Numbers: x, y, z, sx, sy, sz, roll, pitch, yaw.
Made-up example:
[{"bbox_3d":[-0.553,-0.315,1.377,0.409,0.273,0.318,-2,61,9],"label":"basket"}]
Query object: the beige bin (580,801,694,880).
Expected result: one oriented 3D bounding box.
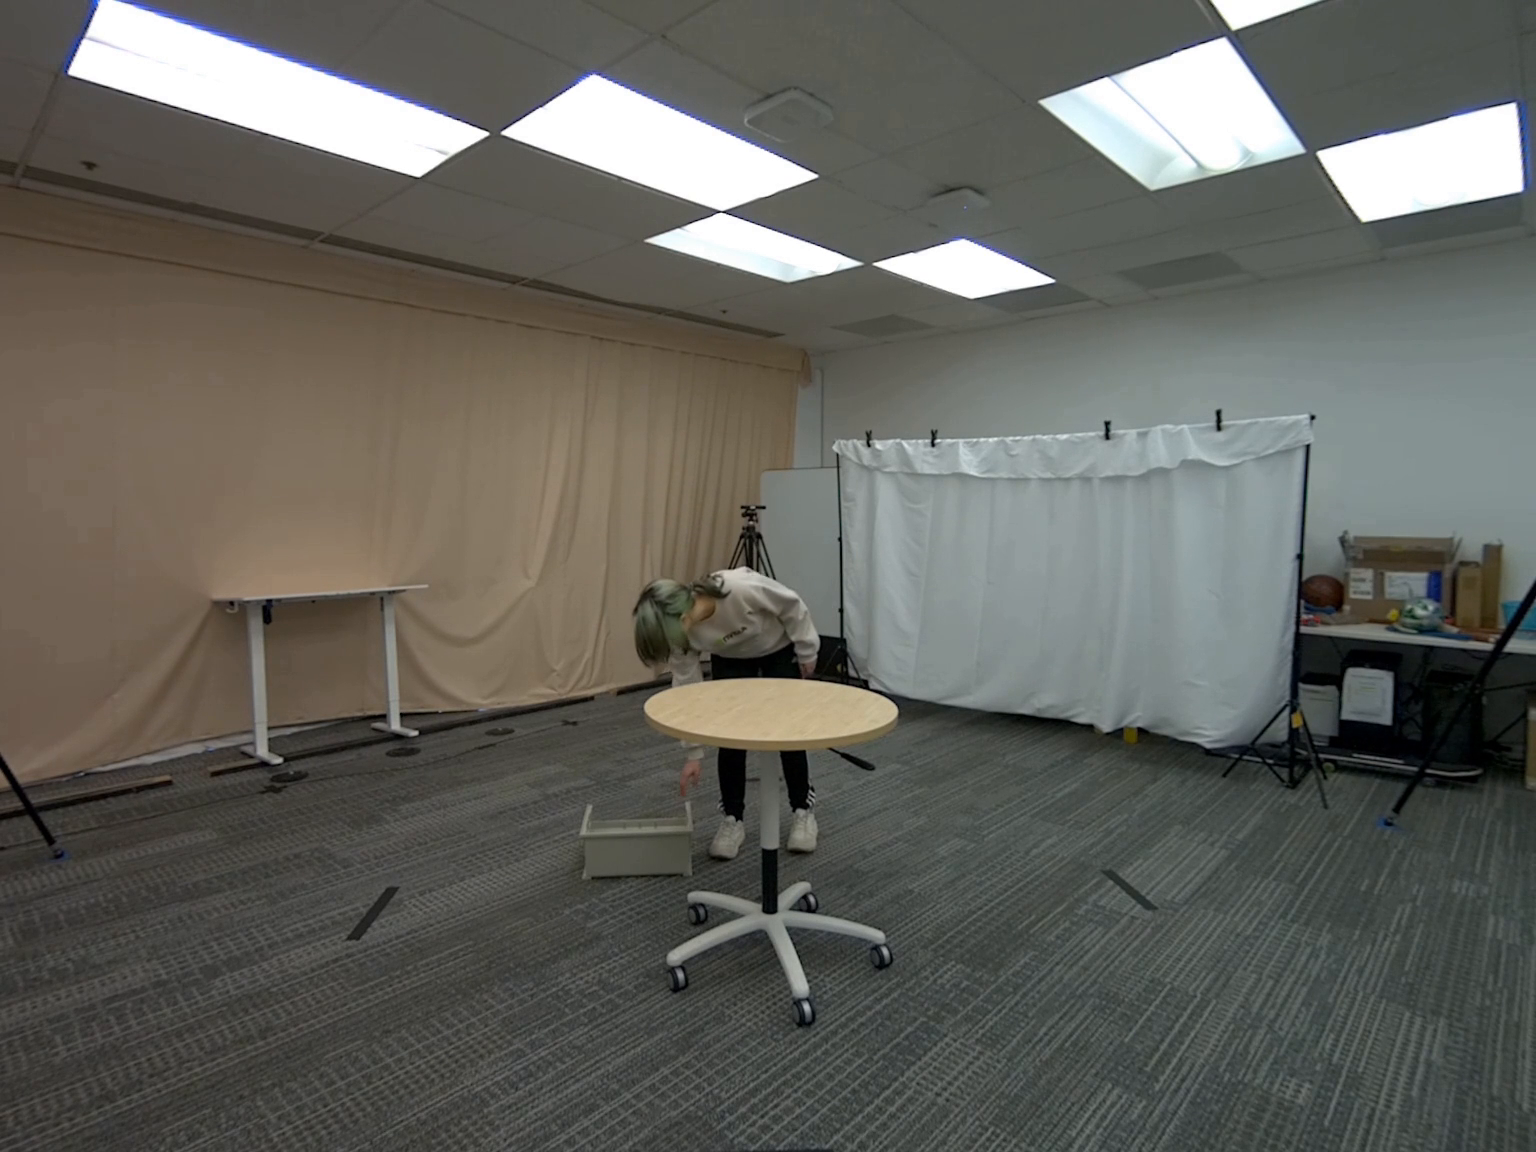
[{"bbox_3d":[-0.514,1.030,3.329,0.420,0.188,0.381,0,6,-6],"label":"beige bin"}]
